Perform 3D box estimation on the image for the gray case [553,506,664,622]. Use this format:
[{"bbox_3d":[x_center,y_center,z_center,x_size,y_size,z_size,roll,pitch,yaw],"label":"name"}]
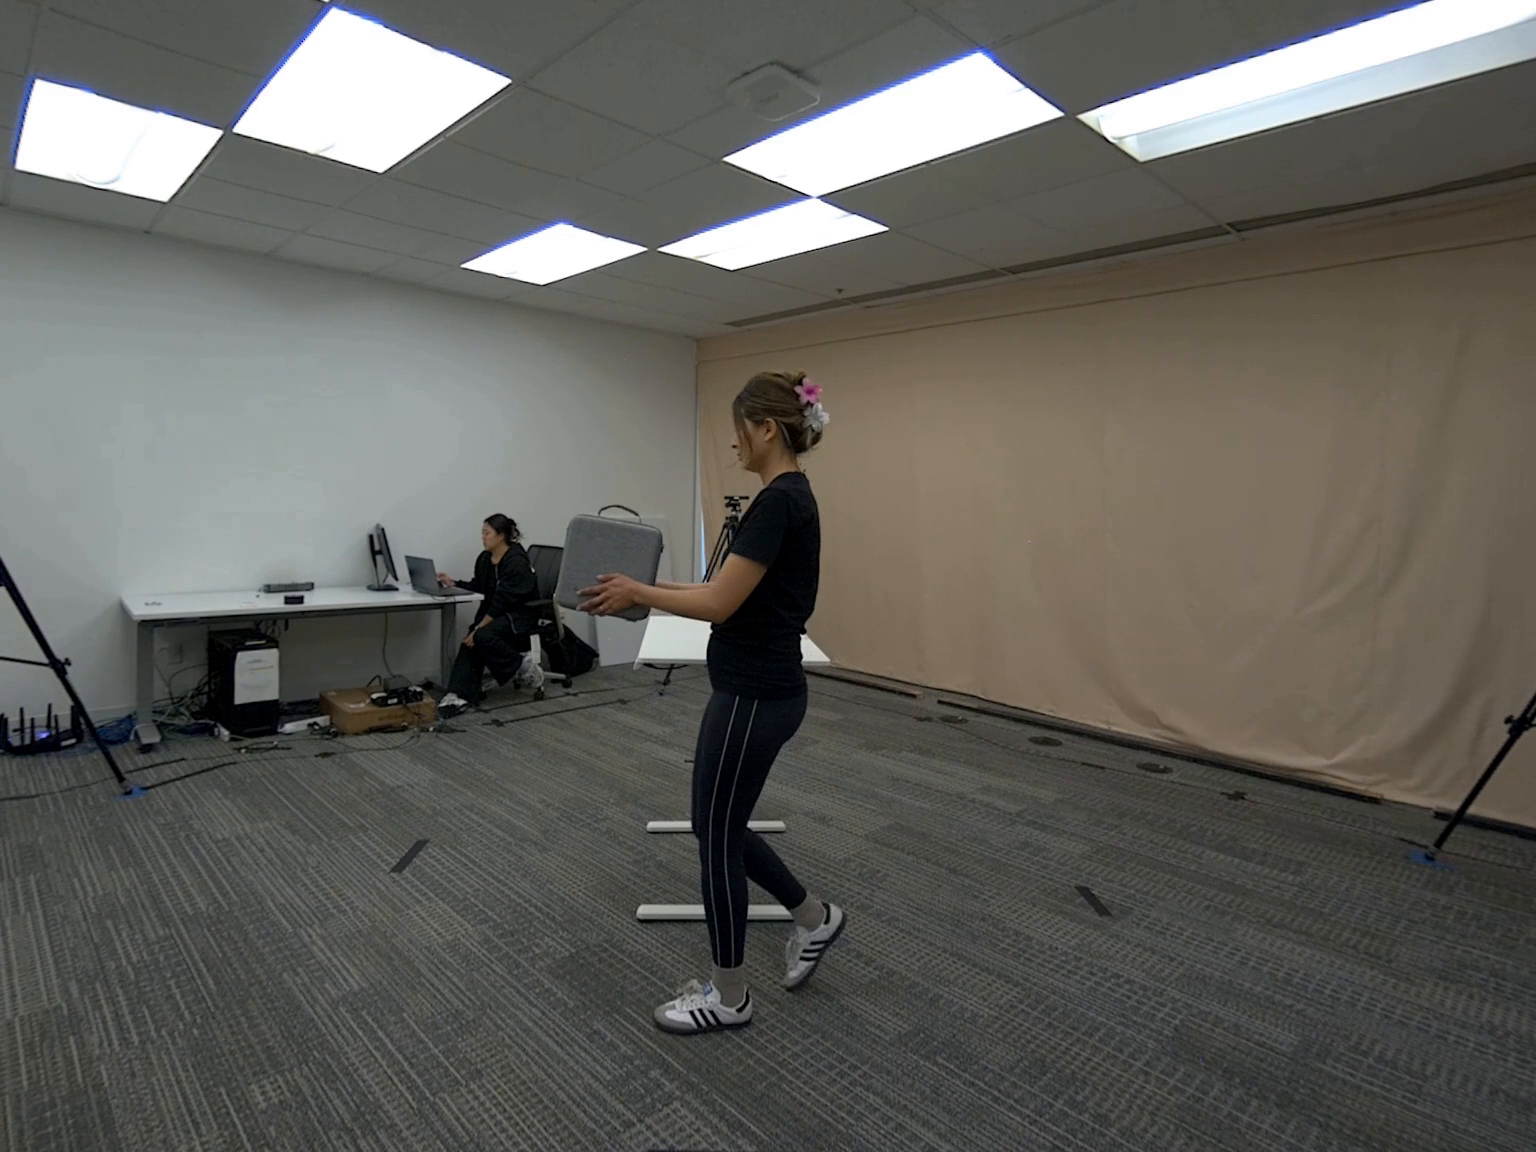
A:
[{"bbox_3d":[-0.425,-0.026,2.266,0.257,0.261,0.103,10,-6,3],"label":"gray case"}]
